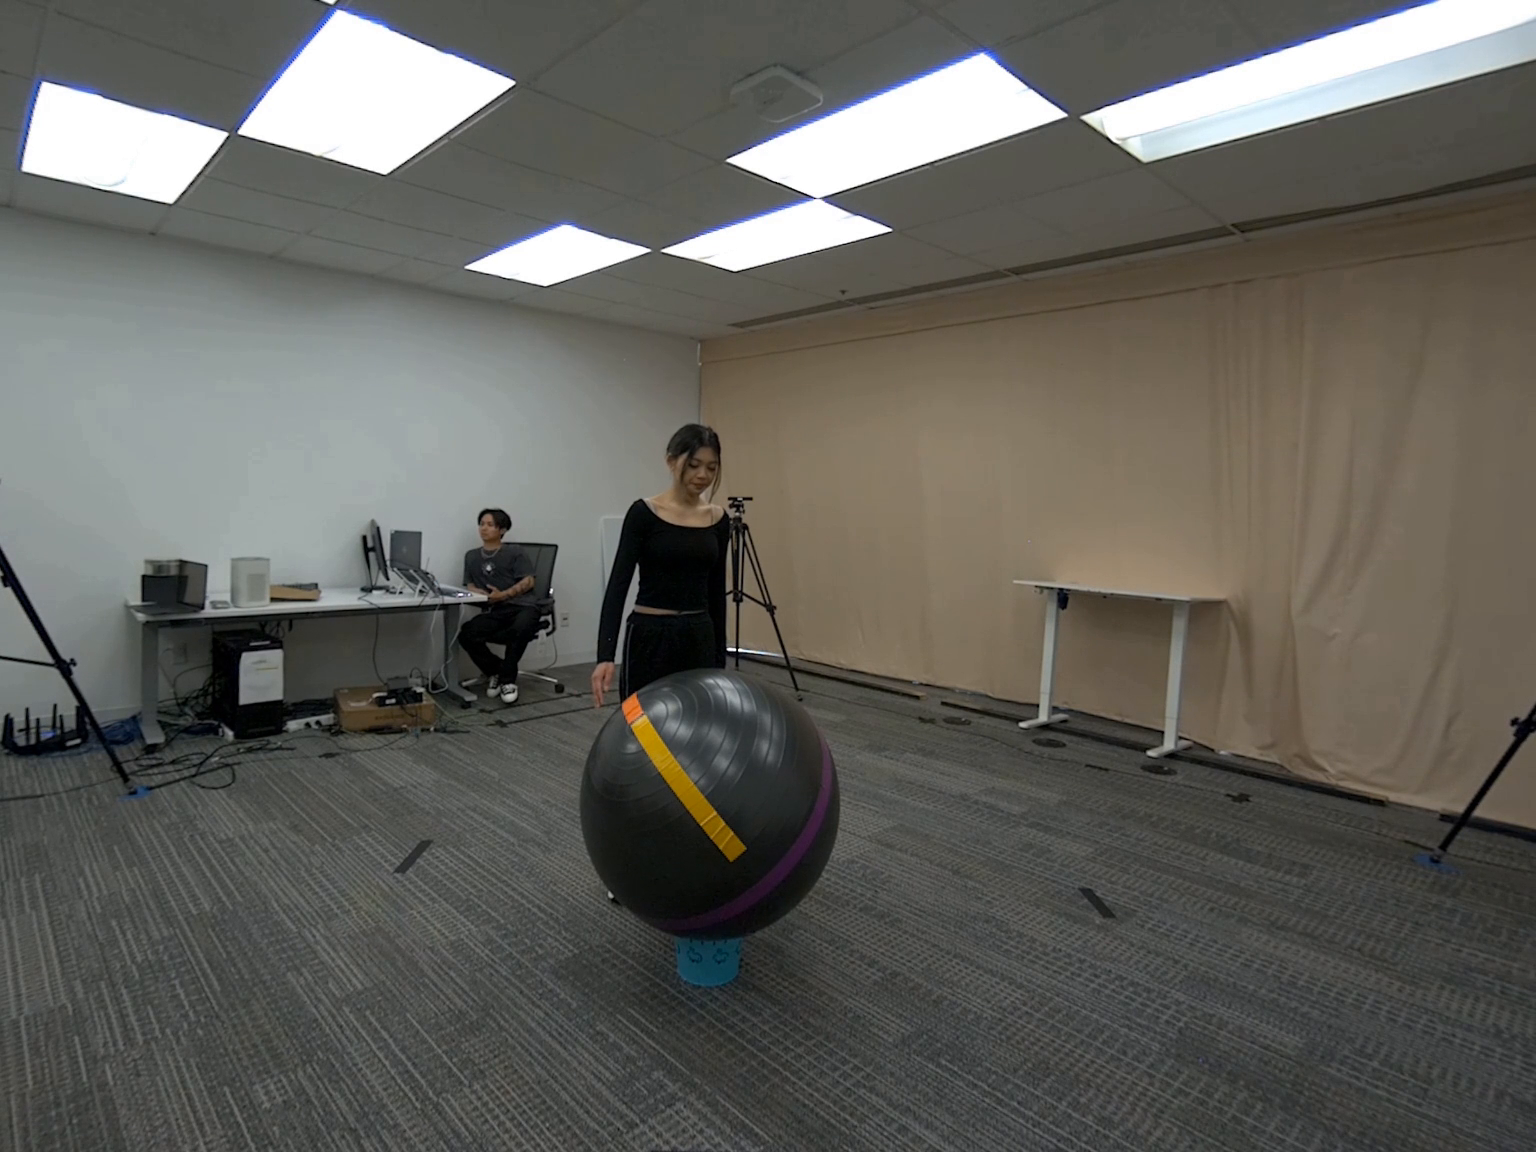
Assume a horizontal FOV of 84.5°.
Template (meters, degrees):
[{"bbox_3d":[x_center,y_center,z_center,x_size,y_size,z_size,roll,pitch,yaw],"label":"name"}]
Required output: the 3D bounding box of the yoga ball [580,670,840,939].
[{"bbox_3d":[-0.171,0.660,2.454,0.757,0.756,0.761,1,4,-1],"label":"yoga ball"}]
